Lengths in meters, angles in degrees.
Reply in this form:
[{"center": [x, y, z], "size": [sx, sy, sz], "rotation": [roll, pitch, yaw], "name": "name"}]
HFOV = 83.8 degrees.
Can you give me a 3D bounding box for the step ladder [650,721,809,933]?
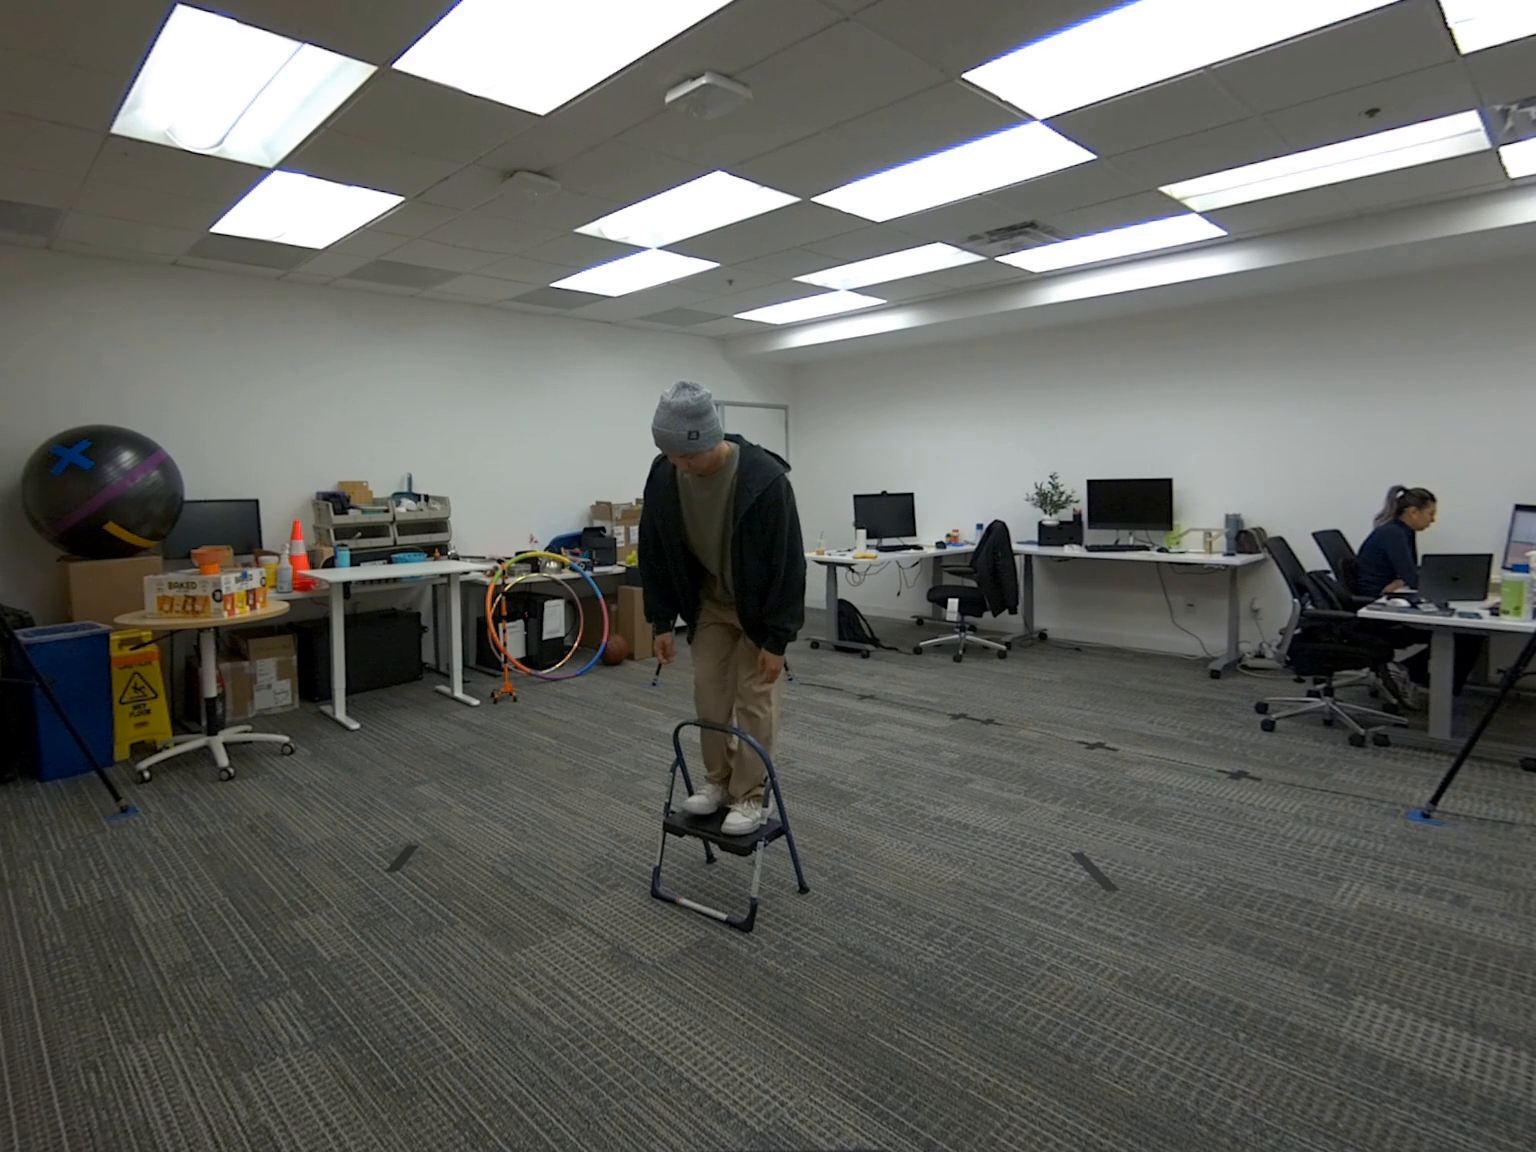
[{"center": [-0.136, 0.772, 2.864], "size": [0.443, 0.603, 0.341], "rotation": [2, 6, 35], "name": "step ladder"}]
